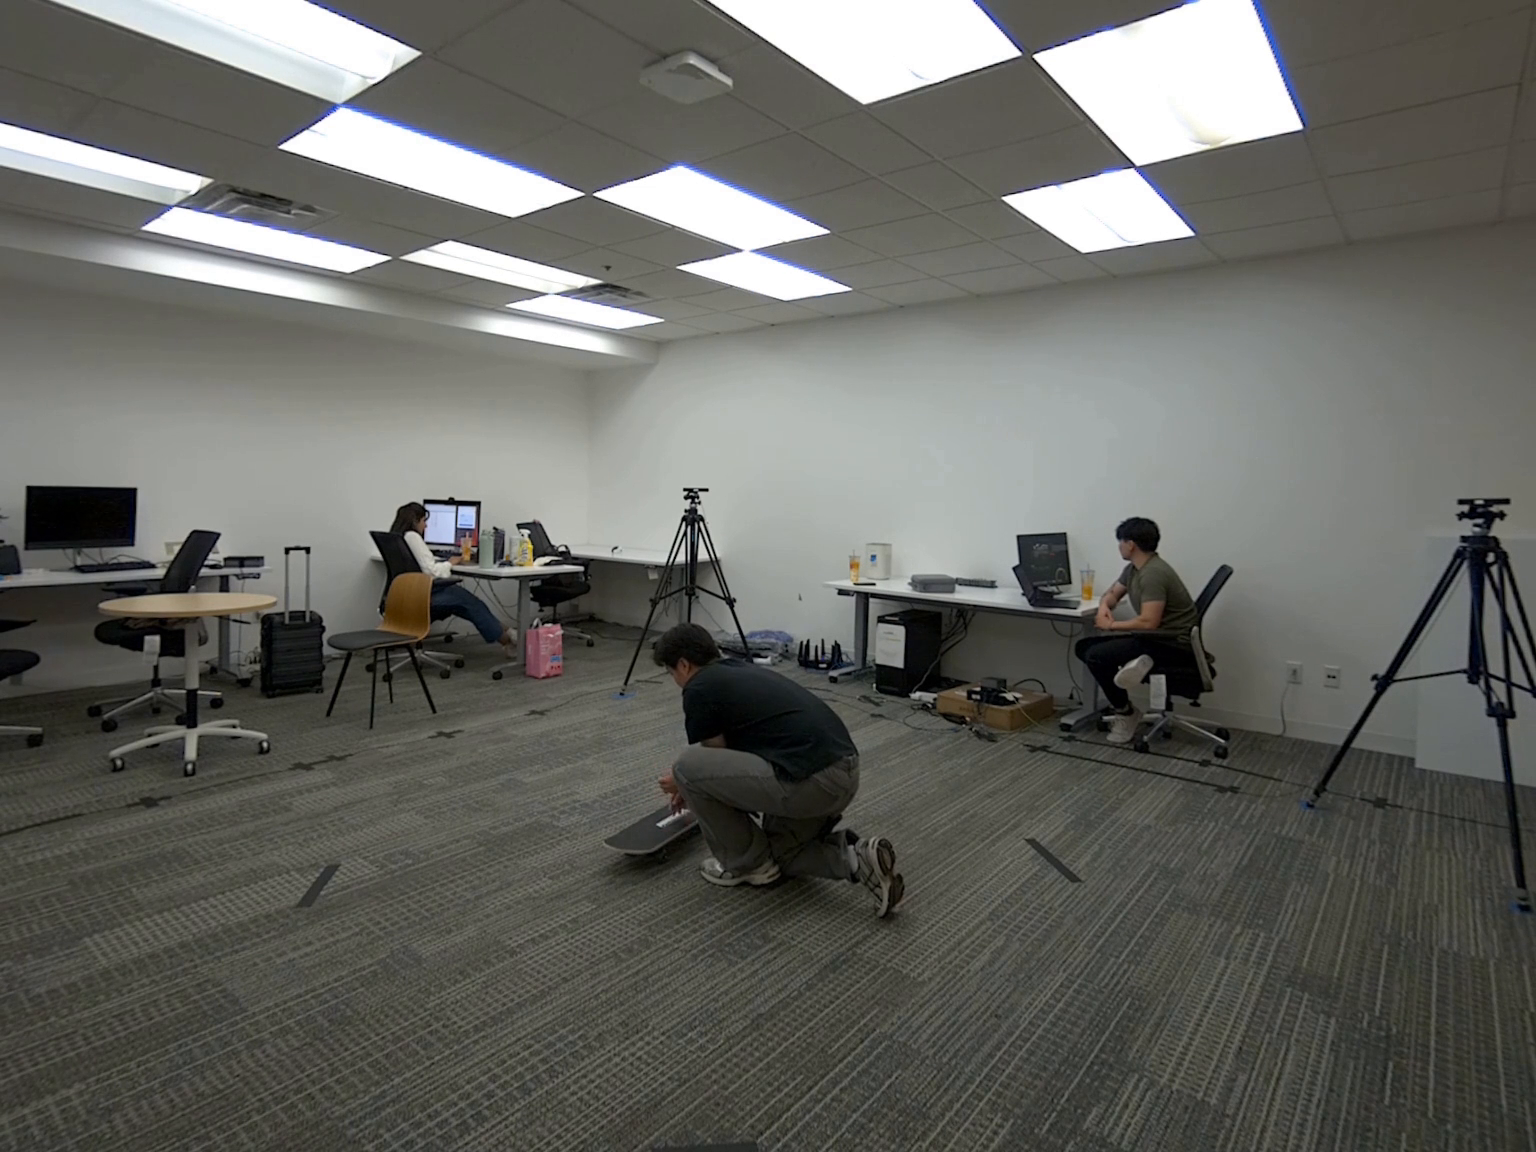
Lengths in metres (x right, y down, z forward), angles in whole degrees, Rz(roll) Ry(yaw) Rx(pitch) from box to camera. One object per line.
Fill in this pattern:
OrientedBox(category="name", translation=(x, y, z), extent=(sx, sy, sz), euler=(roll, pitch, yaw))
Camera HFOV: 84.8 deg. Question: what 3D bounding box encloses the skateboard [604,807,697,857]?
OrientedBox(category="skateboard", translation=(-0.380, 0.983, 3.359), extent=(0.199, 0.110, 0.767), euler=(4, 6, 27))
